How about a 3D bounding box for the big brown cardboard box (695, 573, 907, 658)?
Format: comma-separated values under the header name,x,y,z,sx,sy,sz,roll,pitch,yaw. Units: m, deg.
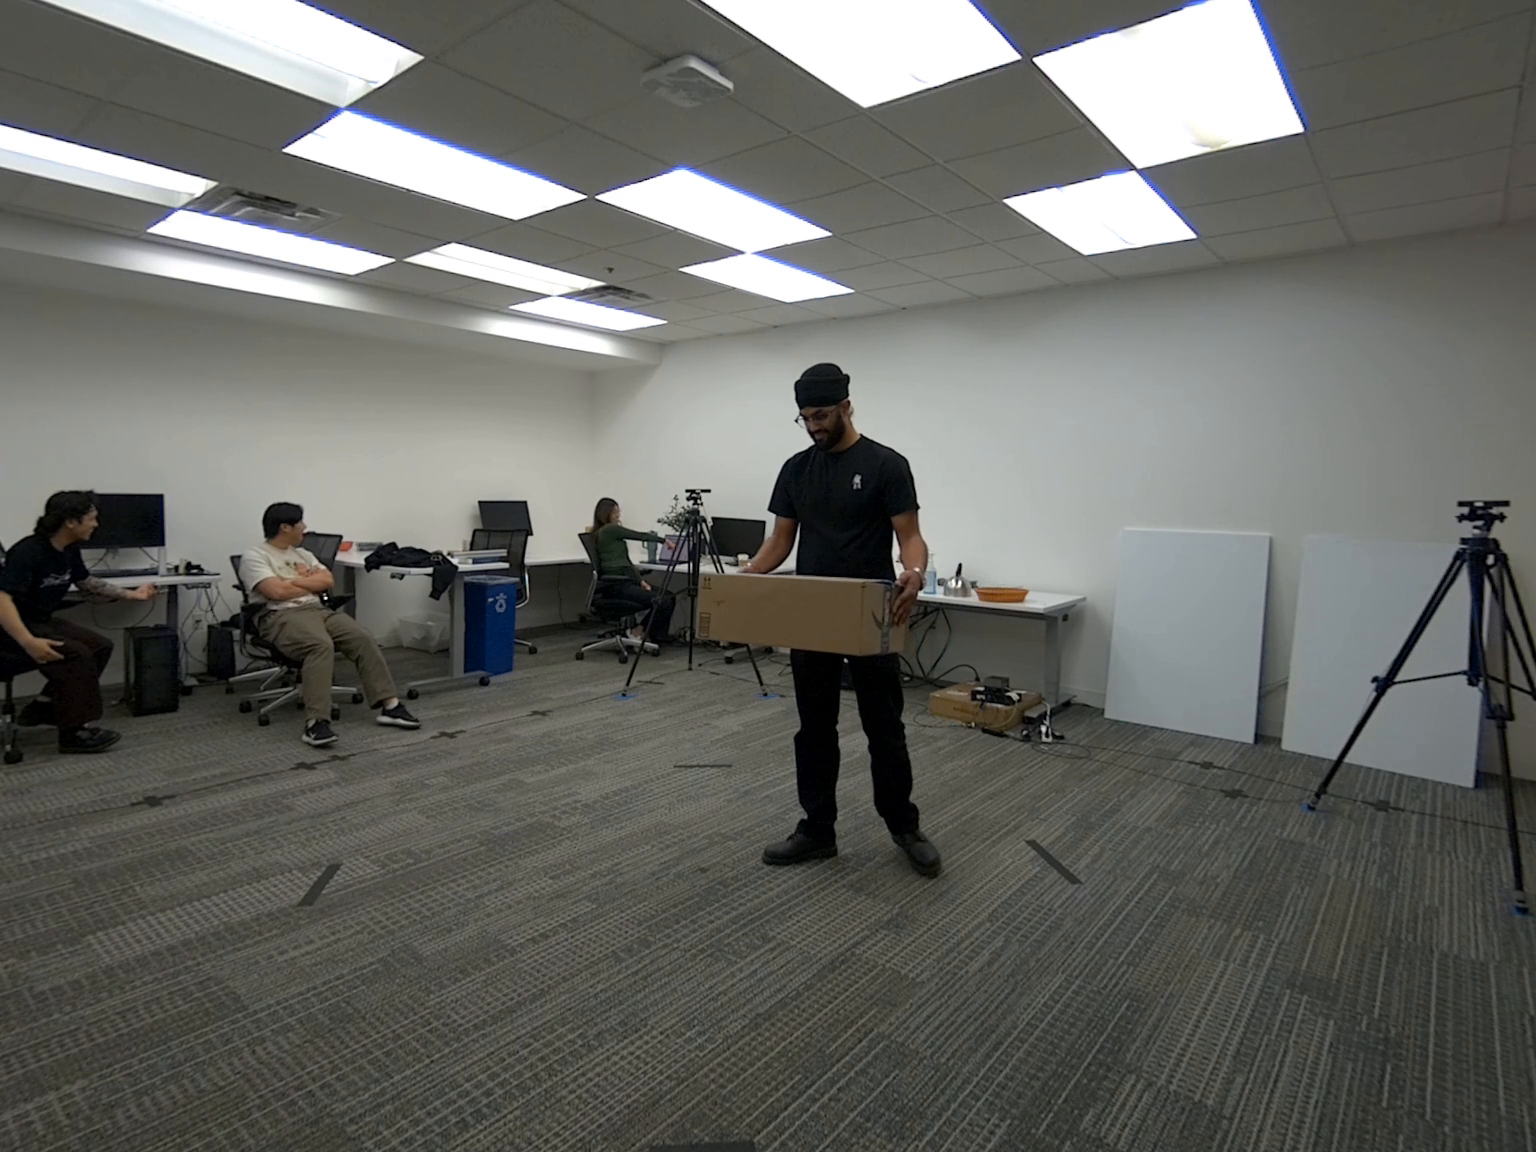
name,x,y,z,sx,sy,sz,roll,pitch,yaw
big brown cardboard box,0.121,0.114,2.767,0.606,0.233,0.405,3,-1,30
